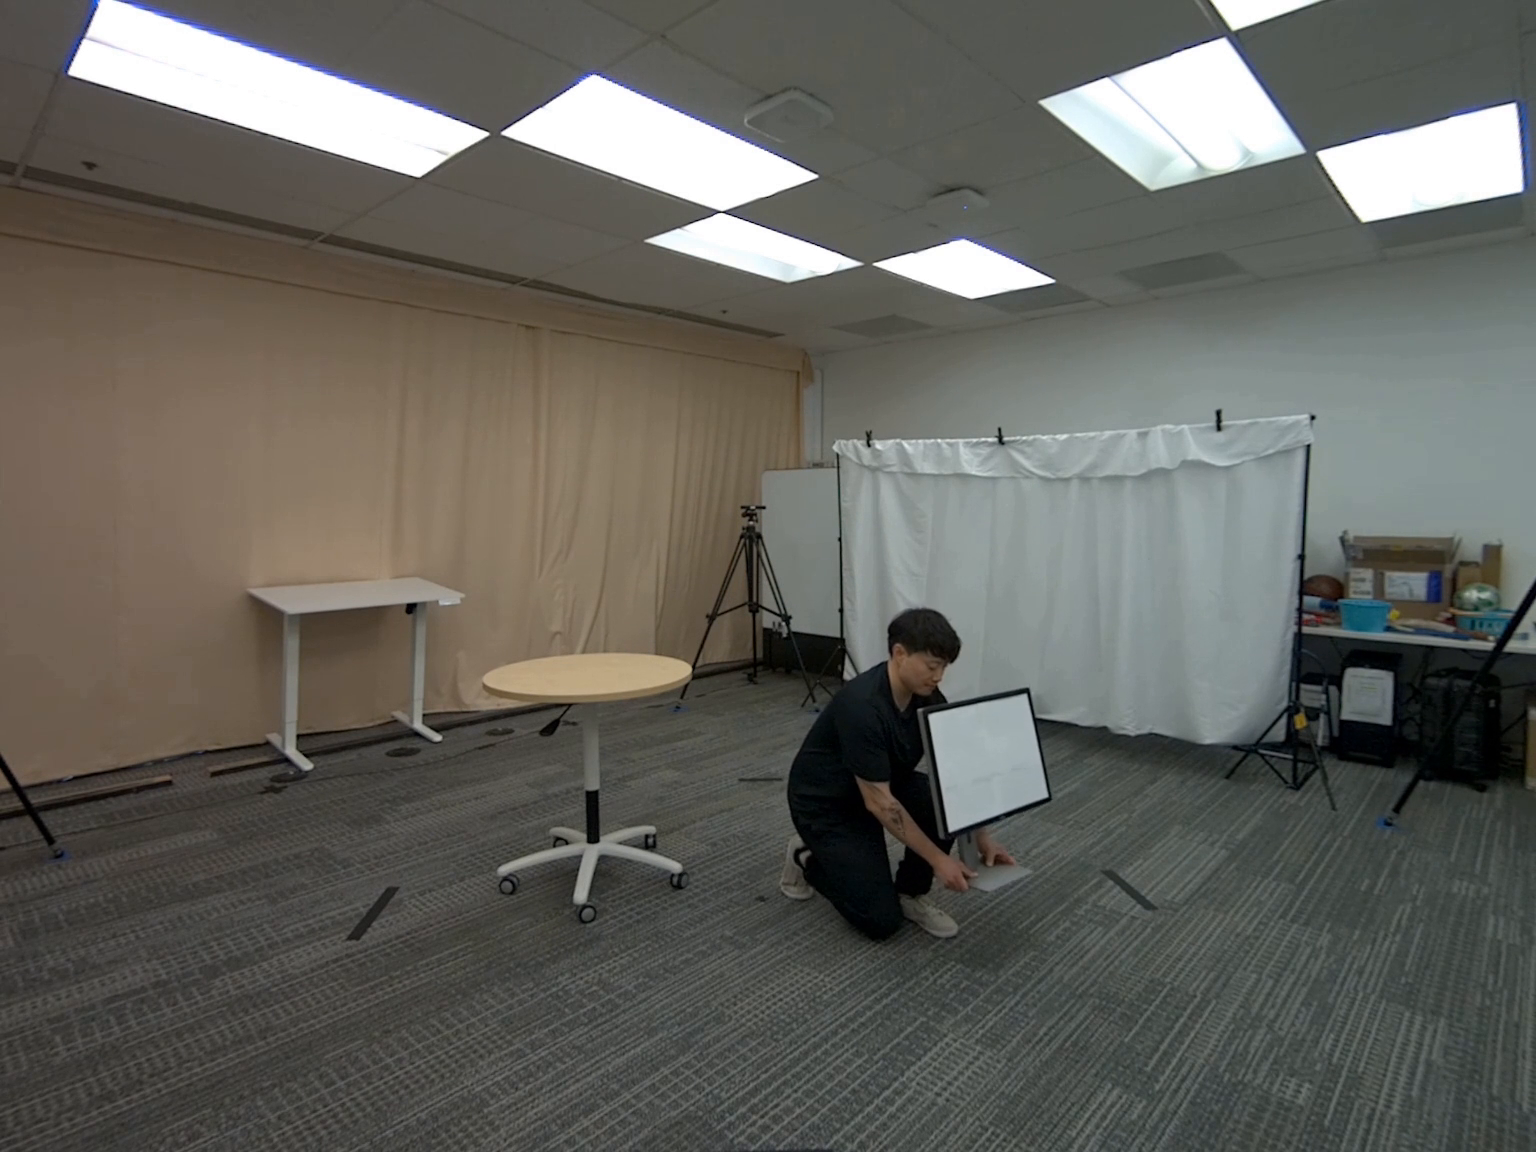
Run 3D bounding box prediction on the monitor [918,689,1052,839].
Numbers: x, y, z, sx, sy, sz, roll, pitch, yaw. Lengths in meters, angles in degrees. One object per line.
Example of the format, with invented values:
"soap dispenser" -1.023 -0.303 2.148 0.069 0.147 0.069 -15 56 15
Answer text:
"monitor" 0.655 0.644 2.572 0.522 0.522 0.193 -2 1 -42
